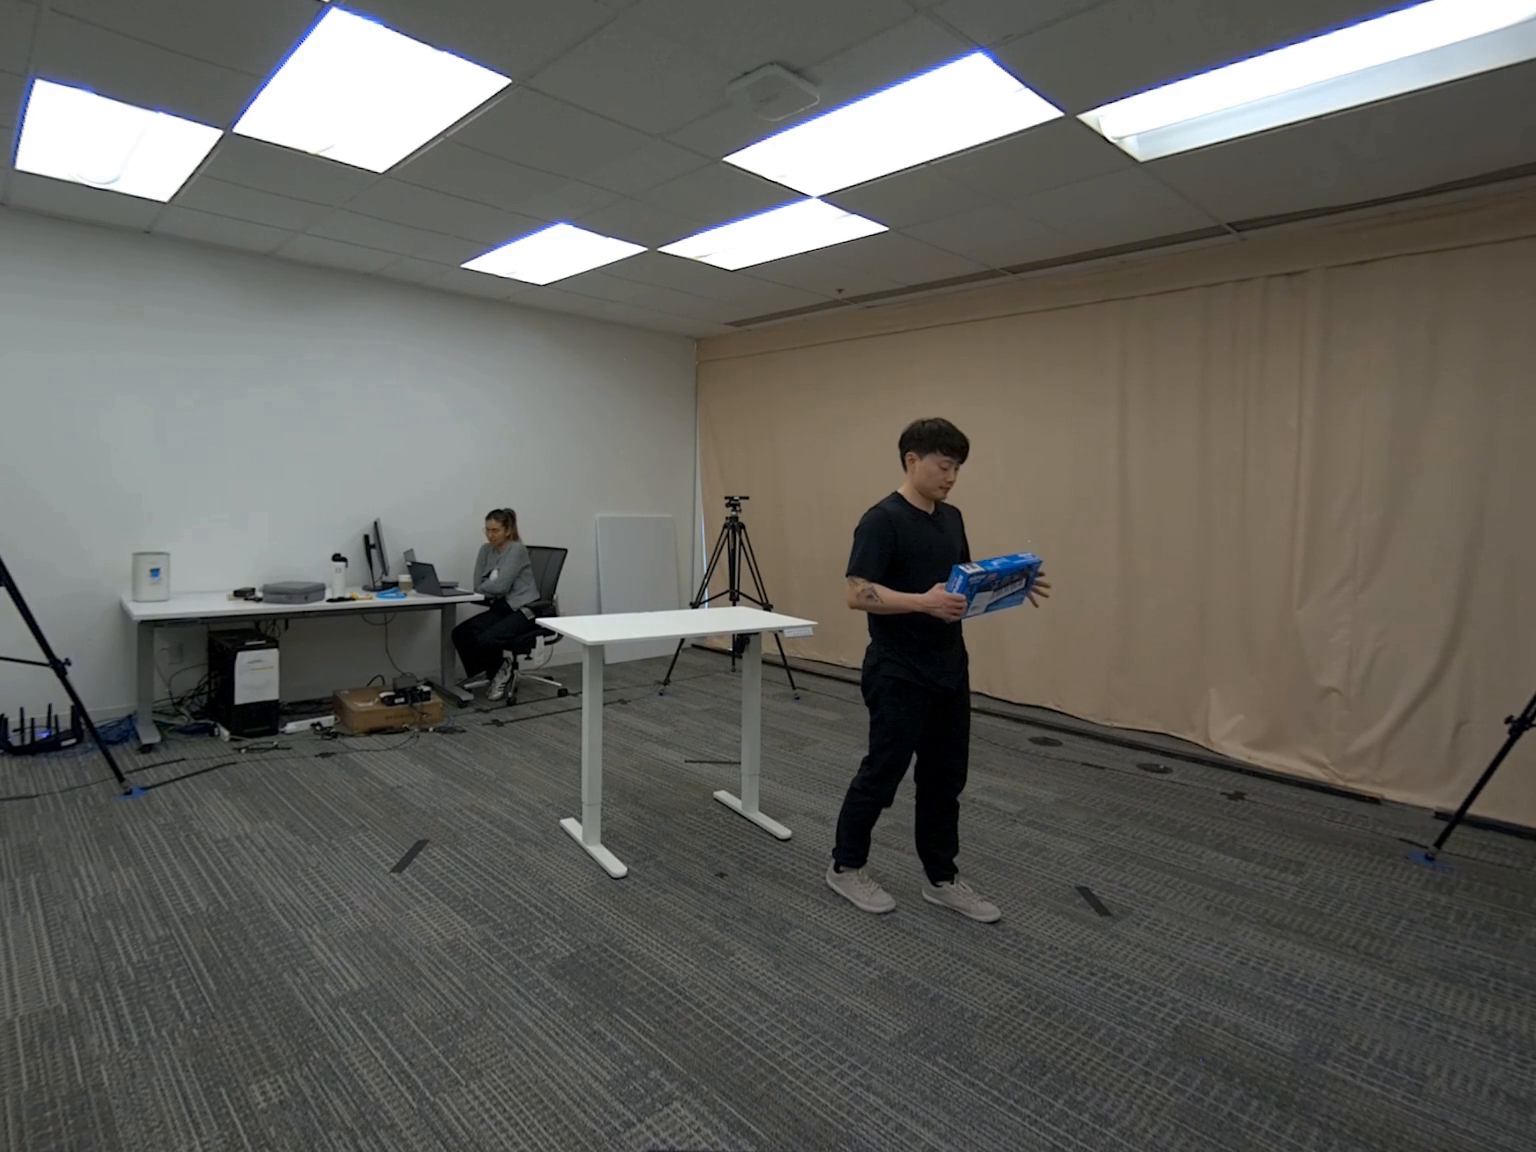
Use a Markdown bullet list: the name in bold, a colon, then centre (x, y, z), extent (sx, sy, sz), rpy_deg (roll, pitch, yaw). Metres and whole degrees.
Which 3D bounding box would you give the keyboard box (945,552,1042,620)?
- **keyboard box**: centre (0.687, 0.031, 2.657), extent (0.428, 0.174, 0.061), rpy_deg (-9, 34, -43)
